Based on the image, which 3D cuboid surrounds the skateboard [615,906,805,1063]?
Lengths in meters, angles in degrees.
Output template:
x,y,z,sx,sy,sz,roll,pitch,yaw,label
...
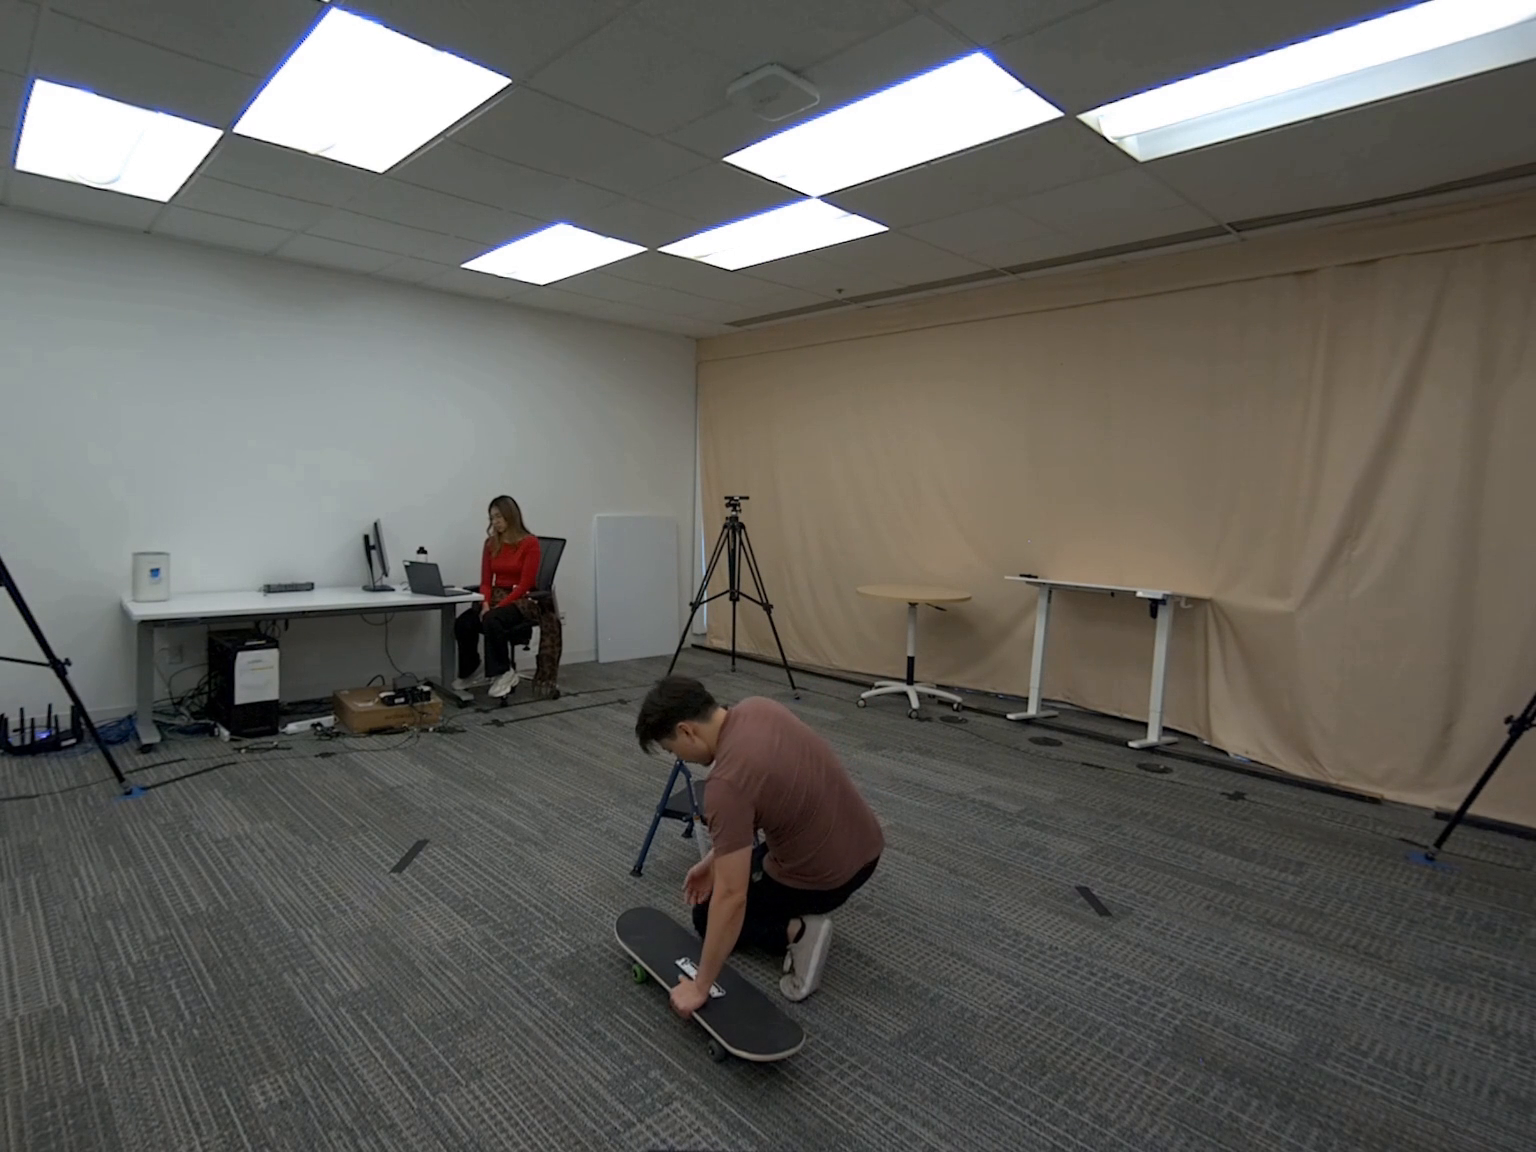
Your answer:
x,y,z,sx,sy,sz,roll,pitch,yaw,label
-0.198,1.125,2.289,0.189,0.110,0.805,-5,9,-35,skateboard
